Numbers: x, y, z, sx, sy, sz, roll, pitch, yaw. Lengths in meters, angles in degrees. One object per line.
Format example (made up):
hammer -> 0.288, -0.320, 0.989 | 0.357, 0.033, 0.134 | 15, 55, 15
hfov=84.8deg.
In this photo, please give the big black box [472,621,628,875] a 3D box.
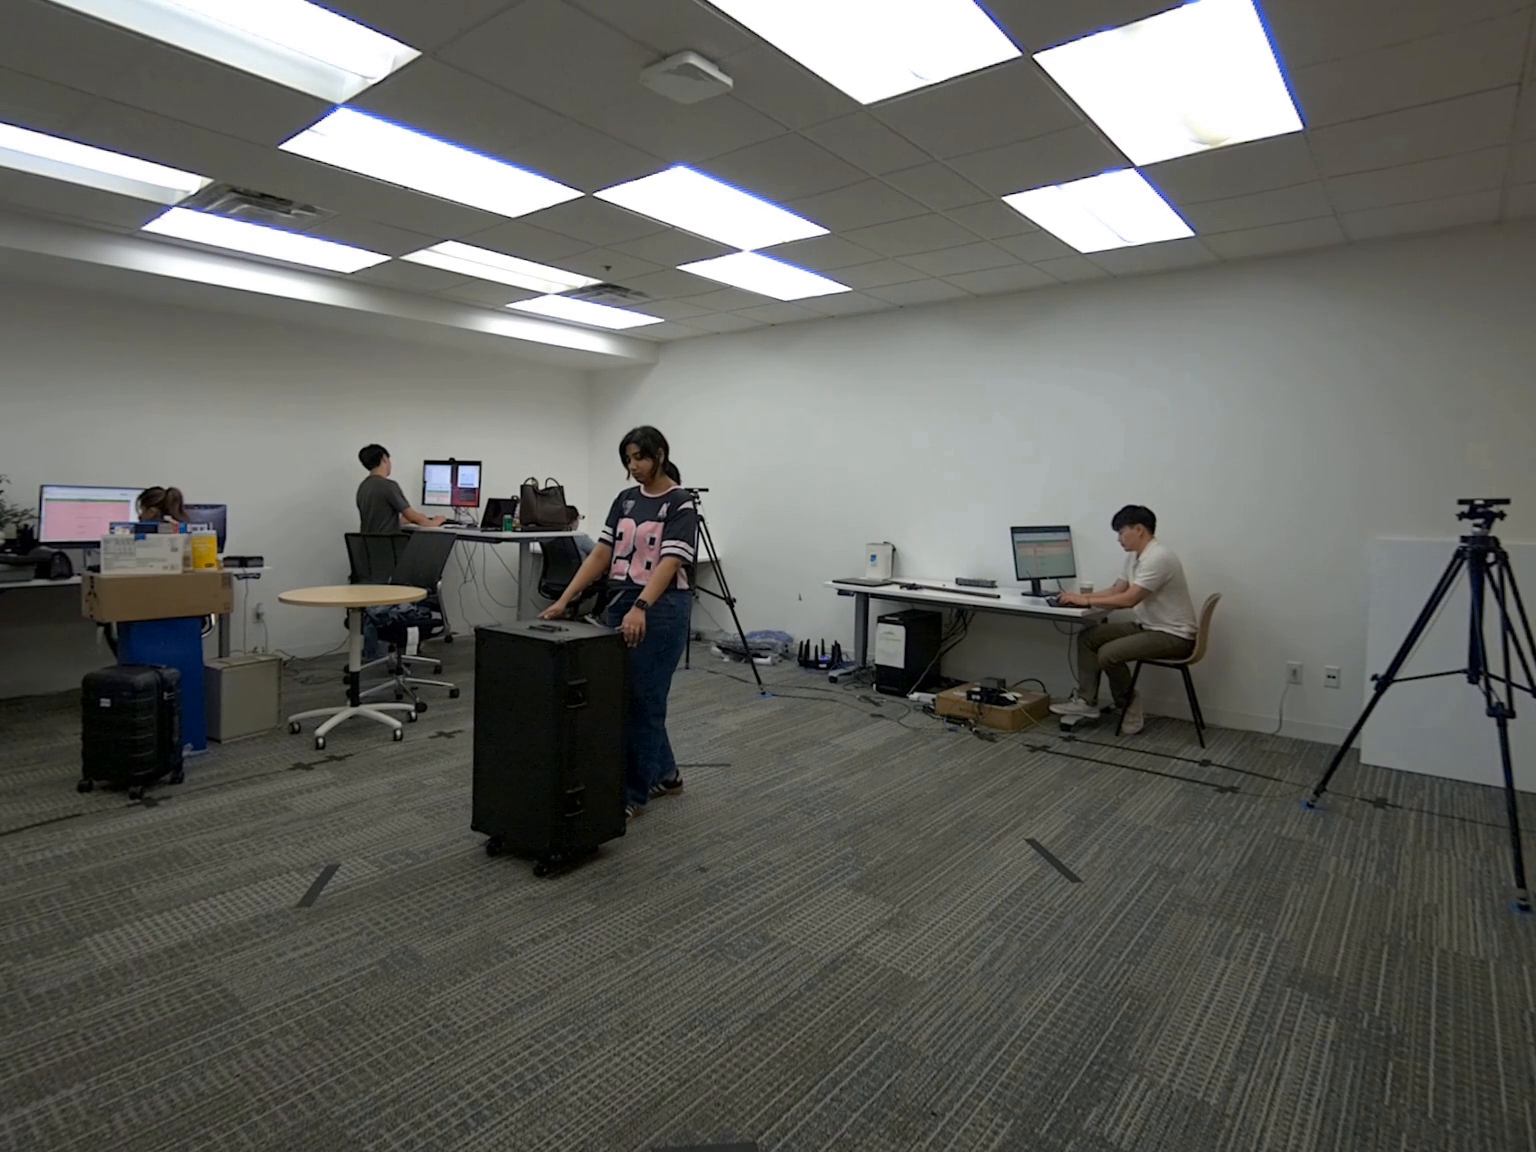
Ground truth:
big black box -> -0.848, 0.627, 3.236 | 0.540, 0.867, 0.374 | 3, 2, 35
